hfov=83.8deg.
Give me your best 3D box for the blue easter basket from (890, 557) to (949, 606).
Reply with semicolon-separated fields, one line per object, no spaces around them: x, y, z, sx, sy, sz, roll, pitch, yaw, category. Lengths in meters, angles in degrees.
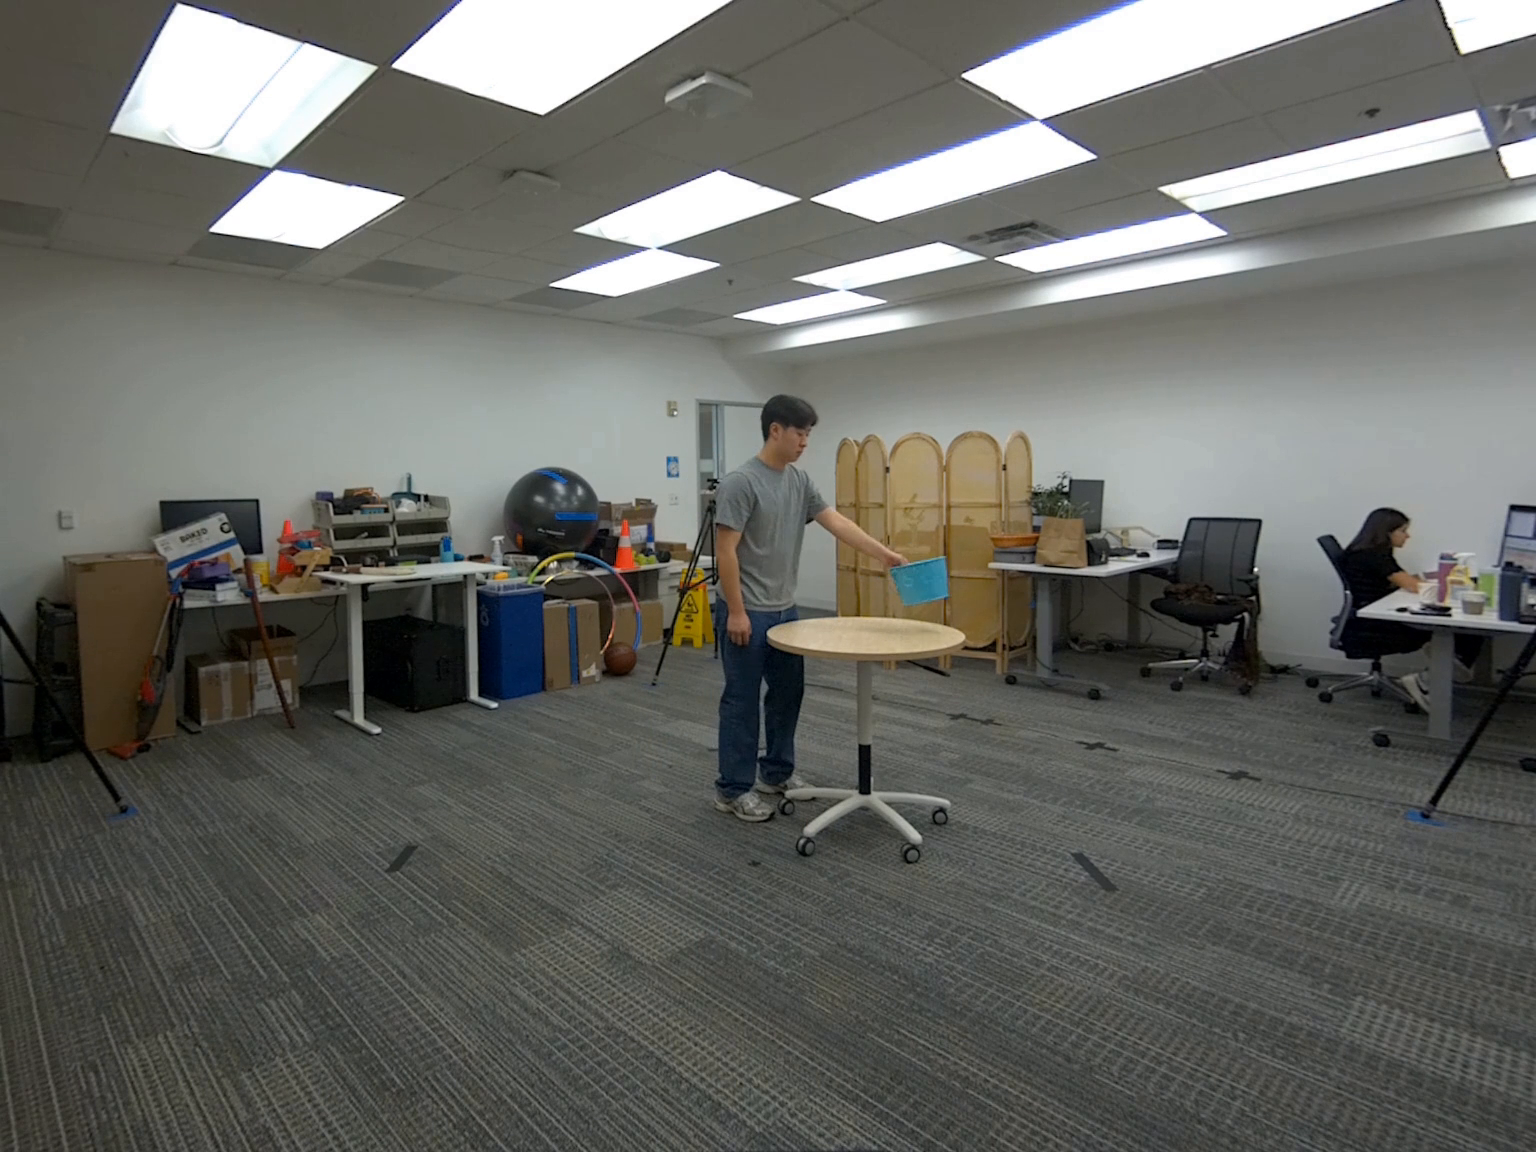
0.609;0.021;3.379;0.243;0.156;0.243;-11;-2;-2;blue easter basket
